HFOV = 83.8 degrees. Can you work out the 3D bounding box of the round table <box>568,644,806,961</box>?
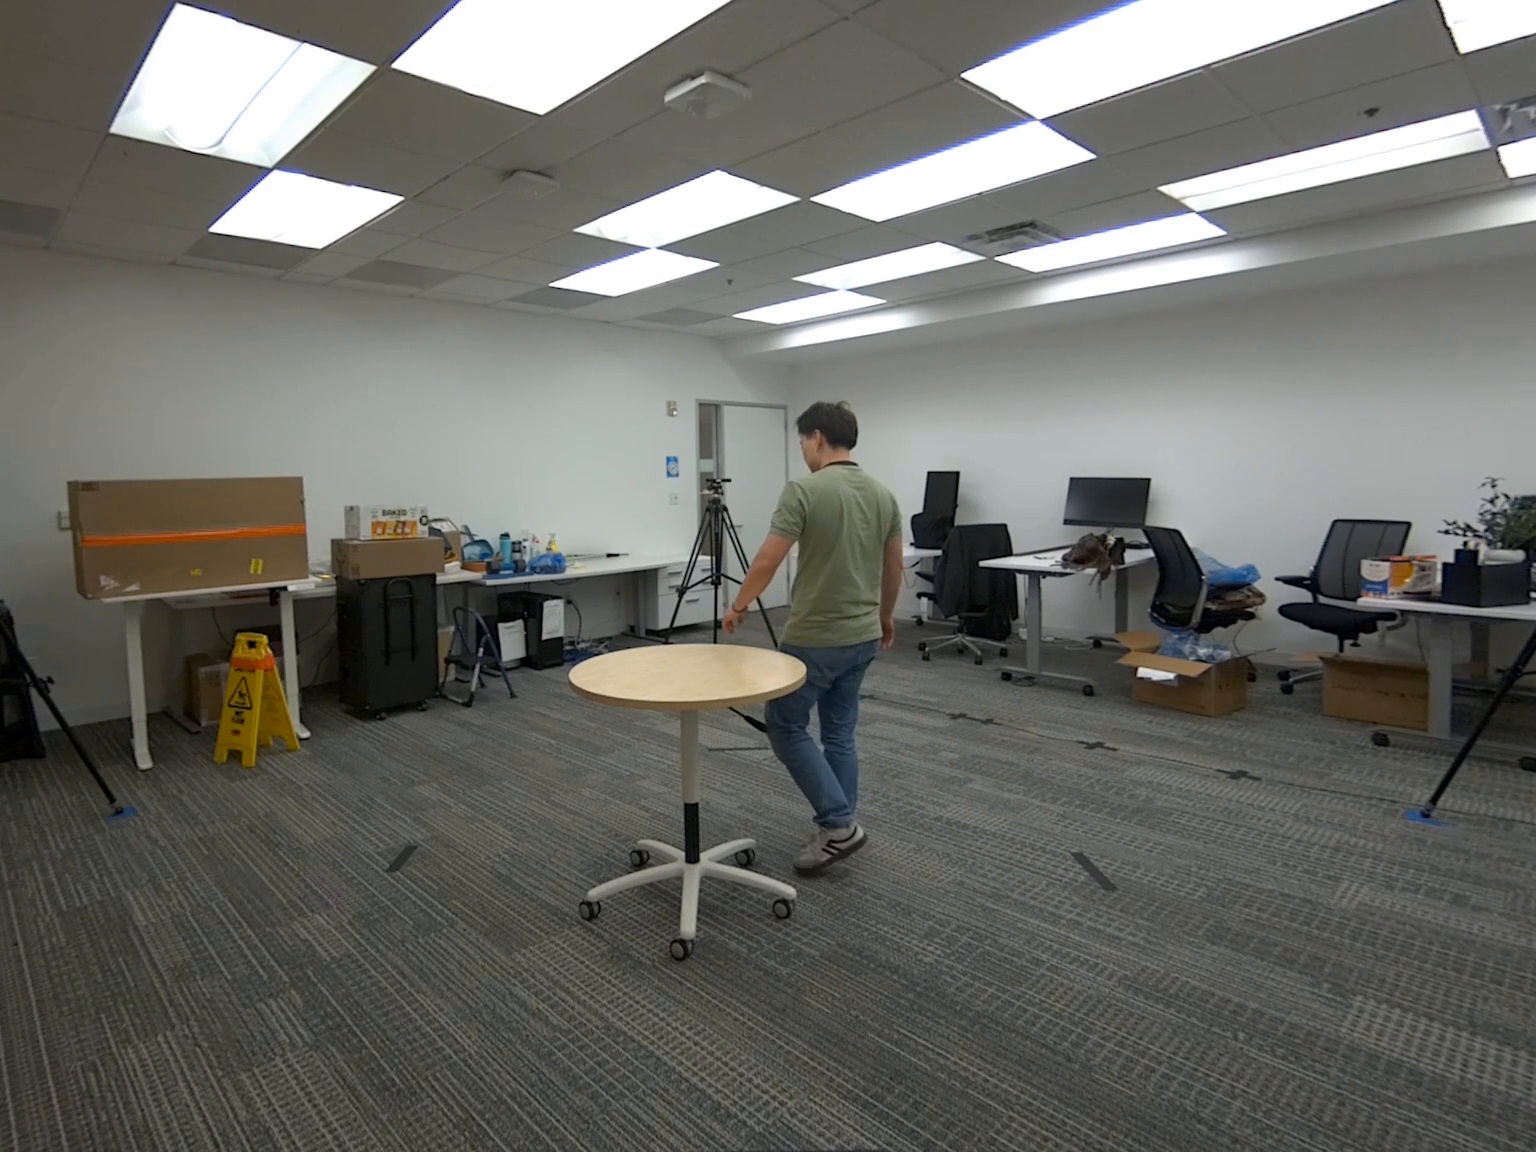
[{"bbox_3d":[-0.251,0.693,2.803,0.763,0.790,0.768,-1,6,-2],"label":"round table"}]
